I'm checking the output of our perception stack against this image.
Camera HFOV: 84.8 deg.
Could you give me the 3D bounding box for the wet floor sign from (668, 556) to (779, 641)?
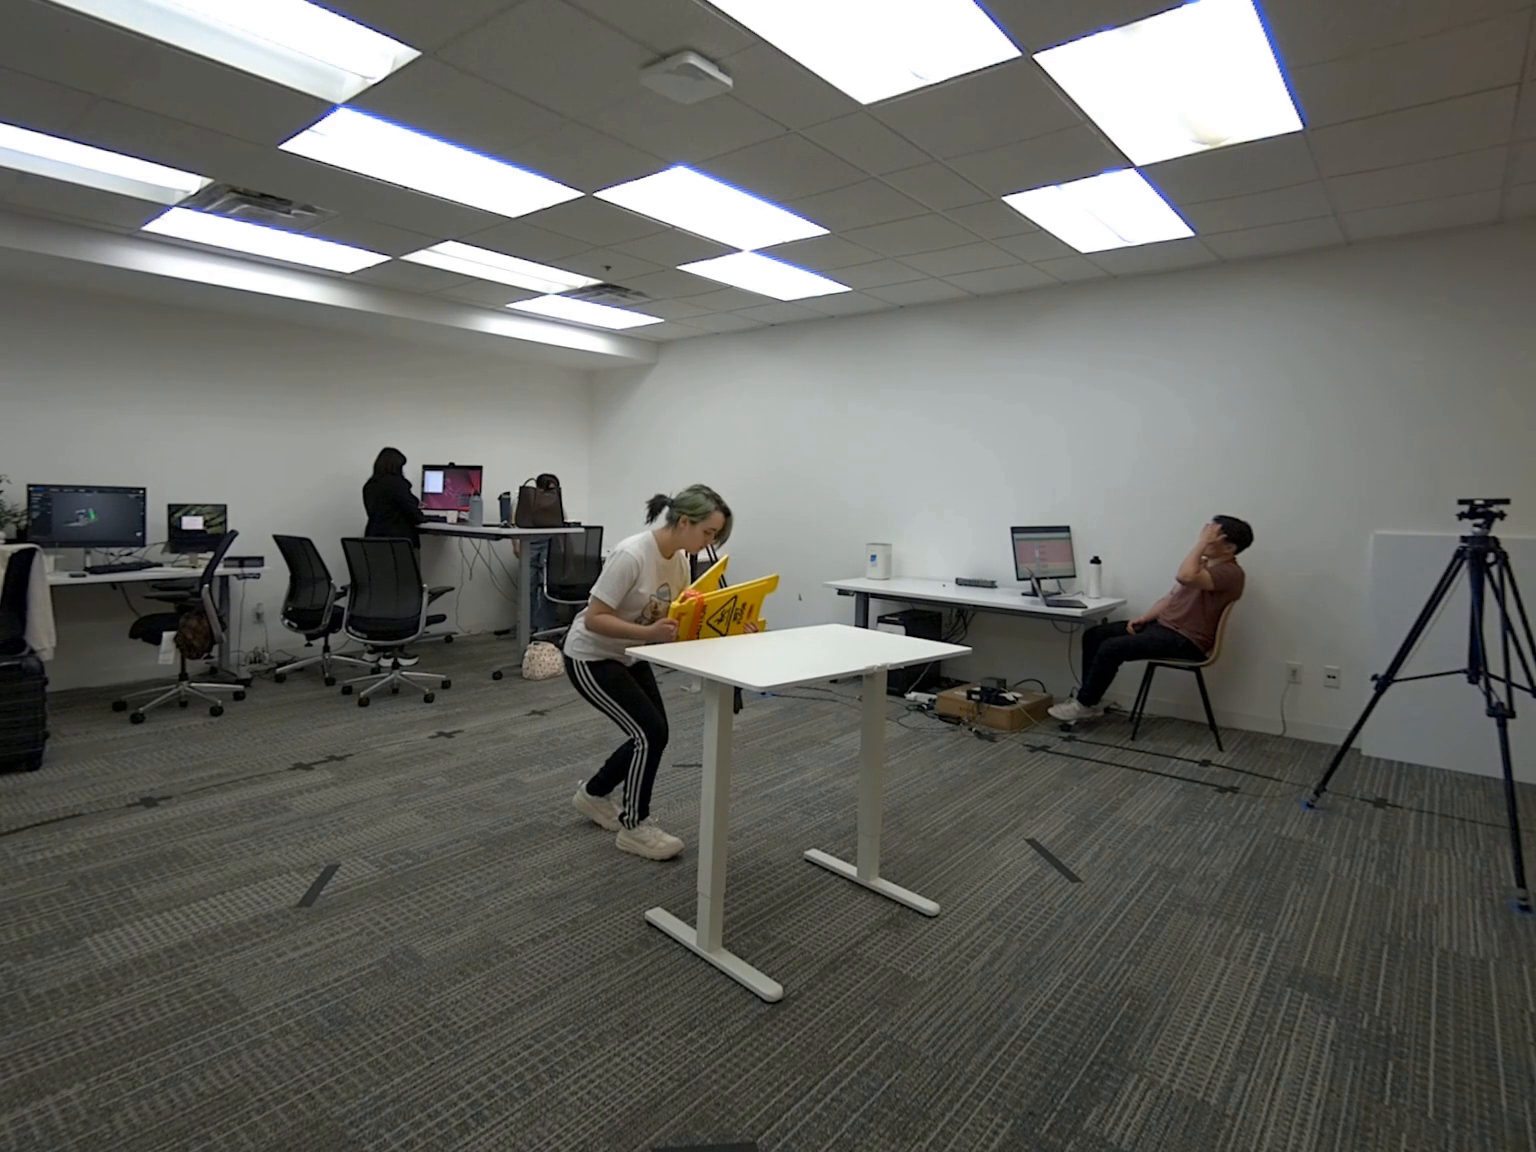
[{"bbox_3d":[-0.240,0.141,3.297,0.298,0.279,0.636,20,19,20],"label":"wet floor sign"}]
